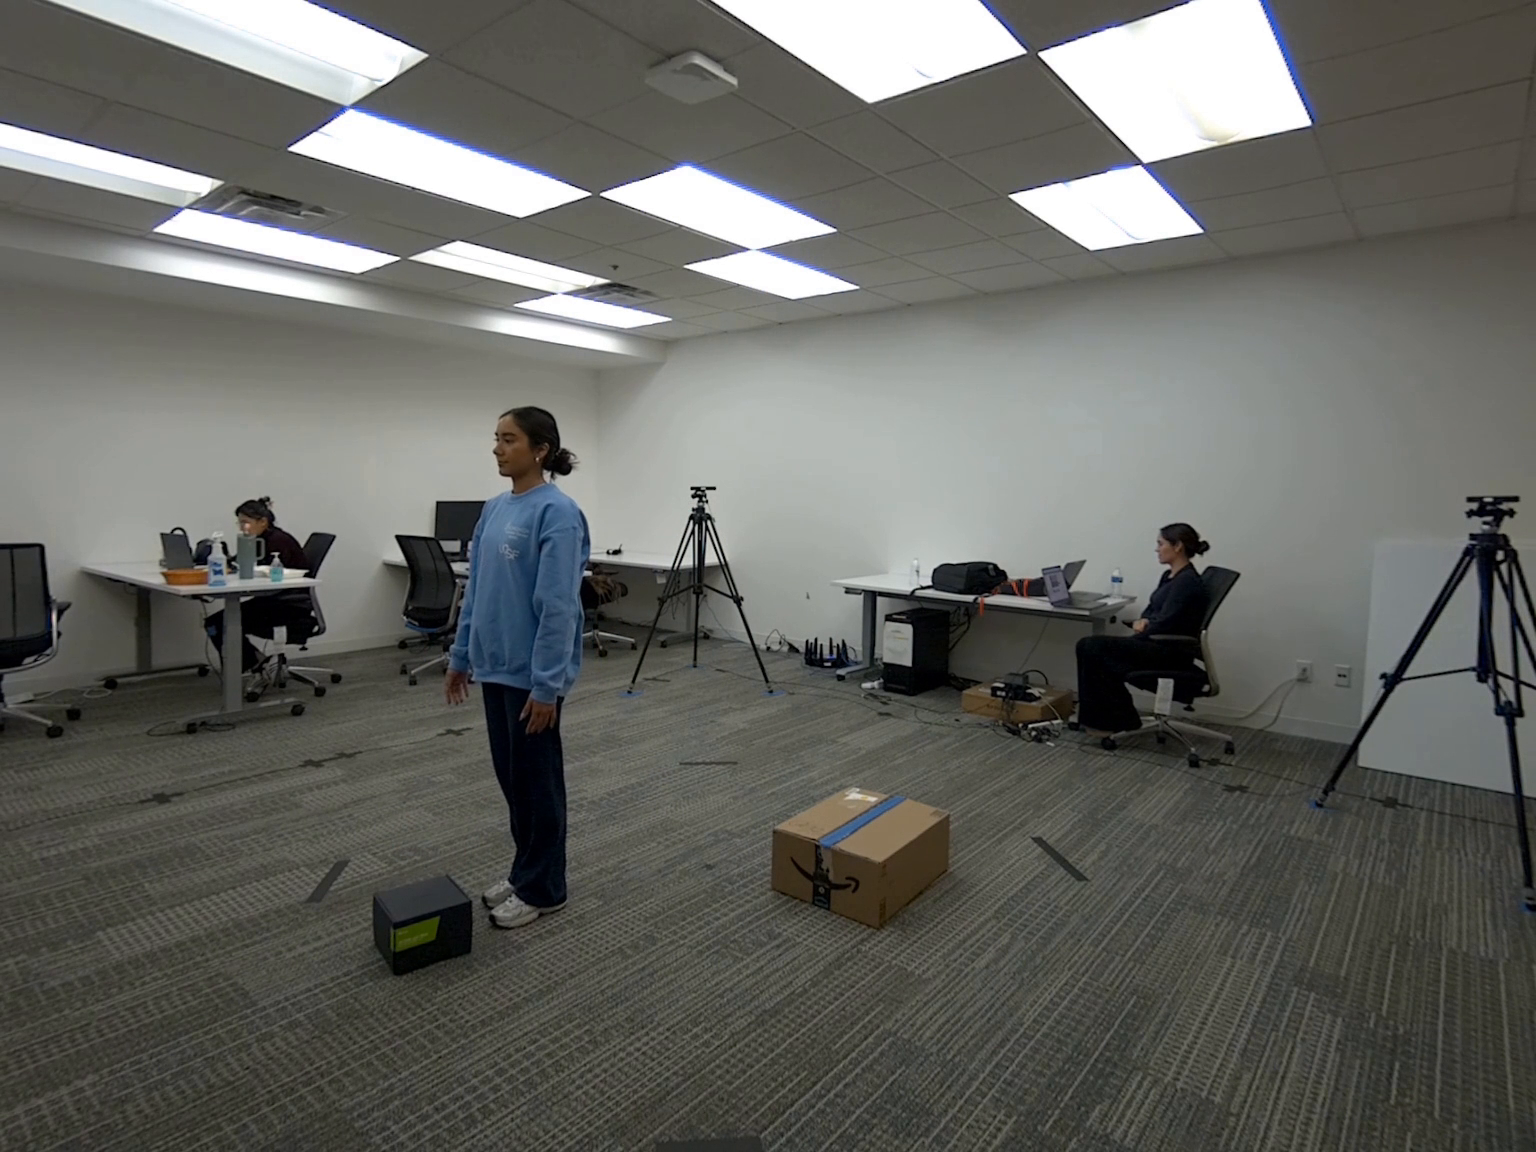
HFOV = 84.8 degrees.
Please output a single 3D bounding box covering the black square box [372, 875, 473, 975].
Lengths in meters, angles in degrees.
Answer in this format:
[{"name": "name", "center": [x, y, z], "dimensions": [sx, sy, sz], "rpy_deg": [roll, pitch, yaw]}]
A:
[{"name": "black square box", "center": [-1.046, 1.030, 2.541], "dimensions": [0.221, 0.155, 0.224], "rpy_deg": [-3, 7, -40]}]
